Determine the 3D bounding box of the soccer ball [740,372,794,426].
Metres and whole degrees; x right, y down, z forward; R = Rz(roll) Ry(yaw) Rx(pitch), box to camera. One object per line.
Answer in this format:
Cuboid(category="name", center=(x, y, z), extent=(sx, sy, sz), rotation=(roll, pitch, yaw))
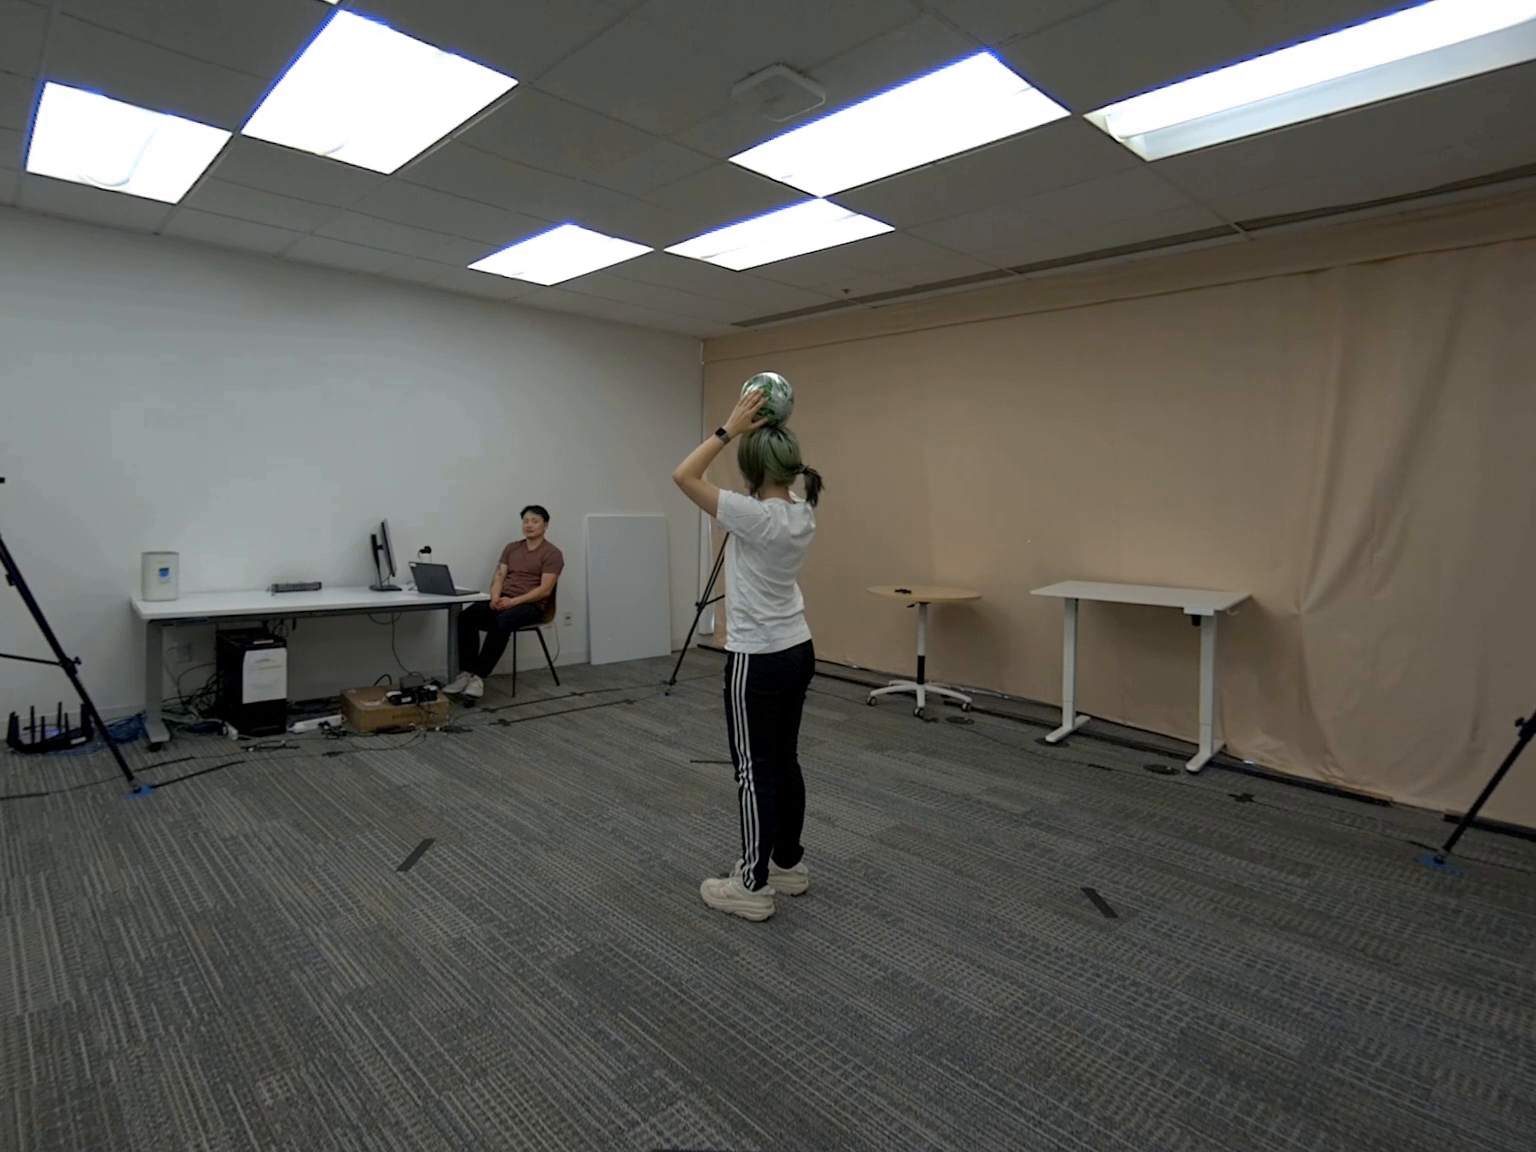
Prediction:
Cuboid(category="soccer ball", center=(-0.005, -0.592, 2.857), extent=(0.187, 0.187, 0.188), rotation=(1, 4, -1))
